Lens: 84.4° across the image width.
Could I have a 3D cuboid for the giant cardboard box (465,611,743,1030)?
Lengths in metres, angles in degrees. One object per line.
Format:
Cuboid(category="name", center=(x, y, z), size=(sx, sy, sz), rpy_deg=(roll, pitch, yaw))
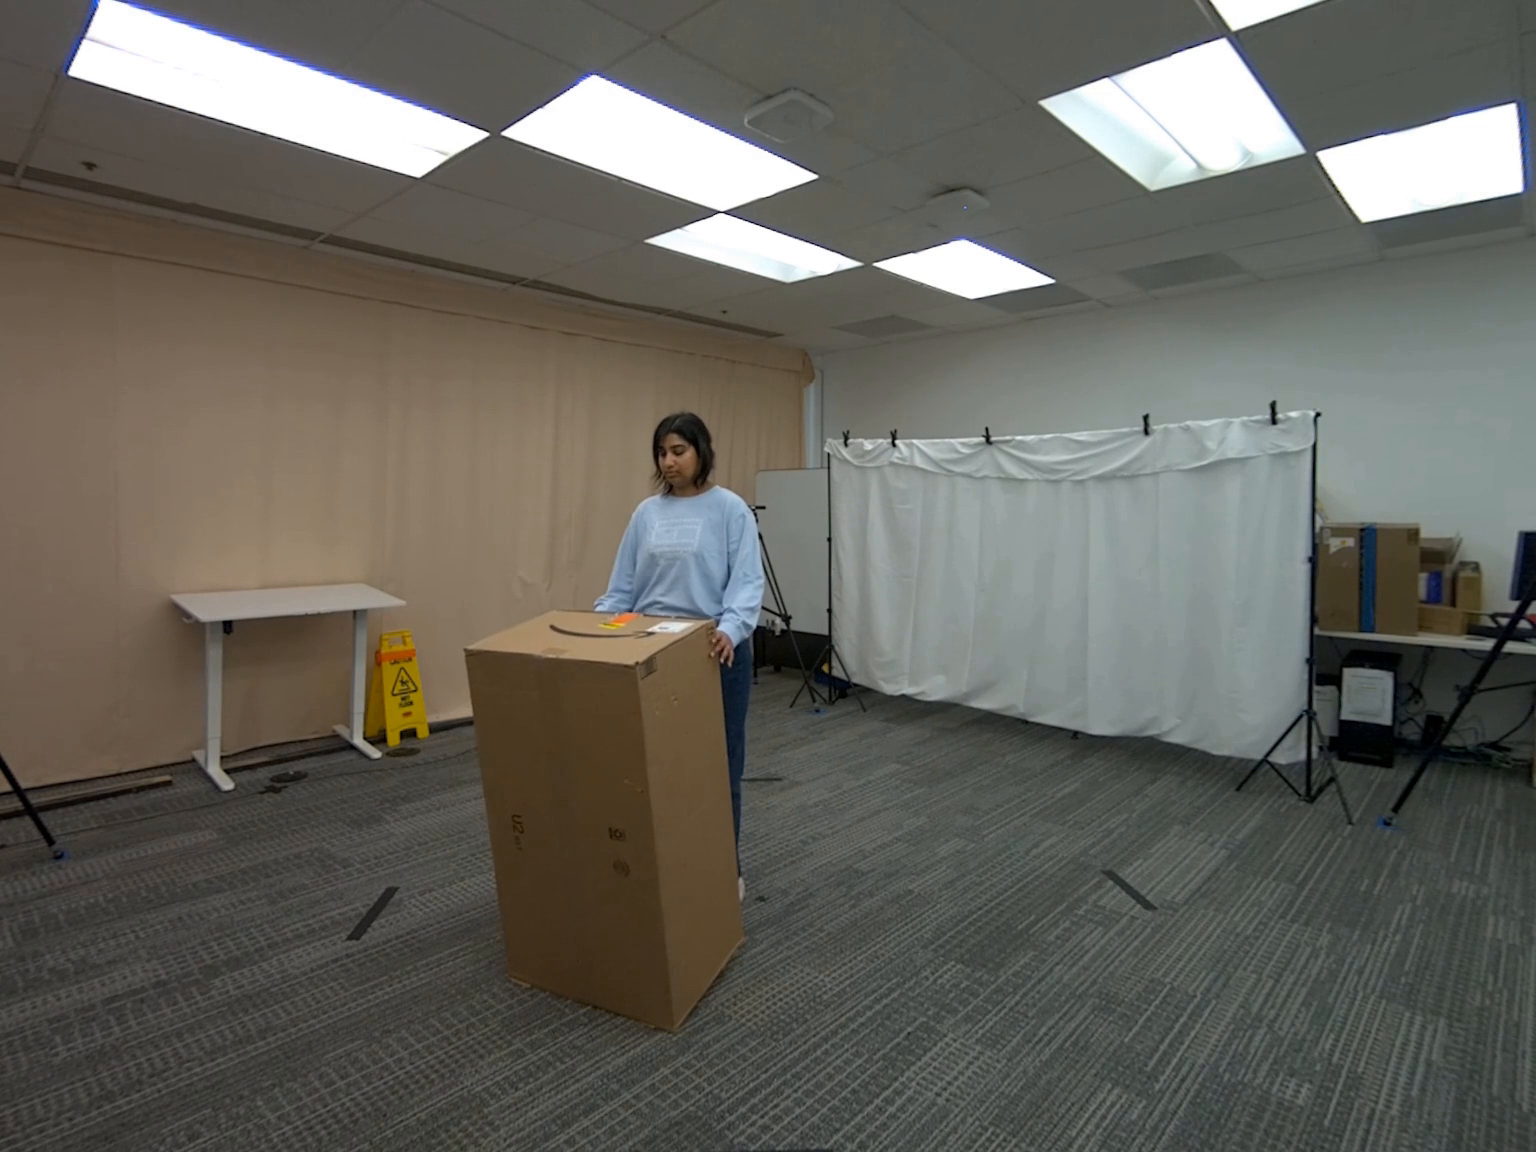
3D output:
Cuboid(category="giant cardboard box", center=(-0.461, 0.665, 2.448), size=(0.600, 1.020, 0.438), rpy_deg=(1, 11, 28))
